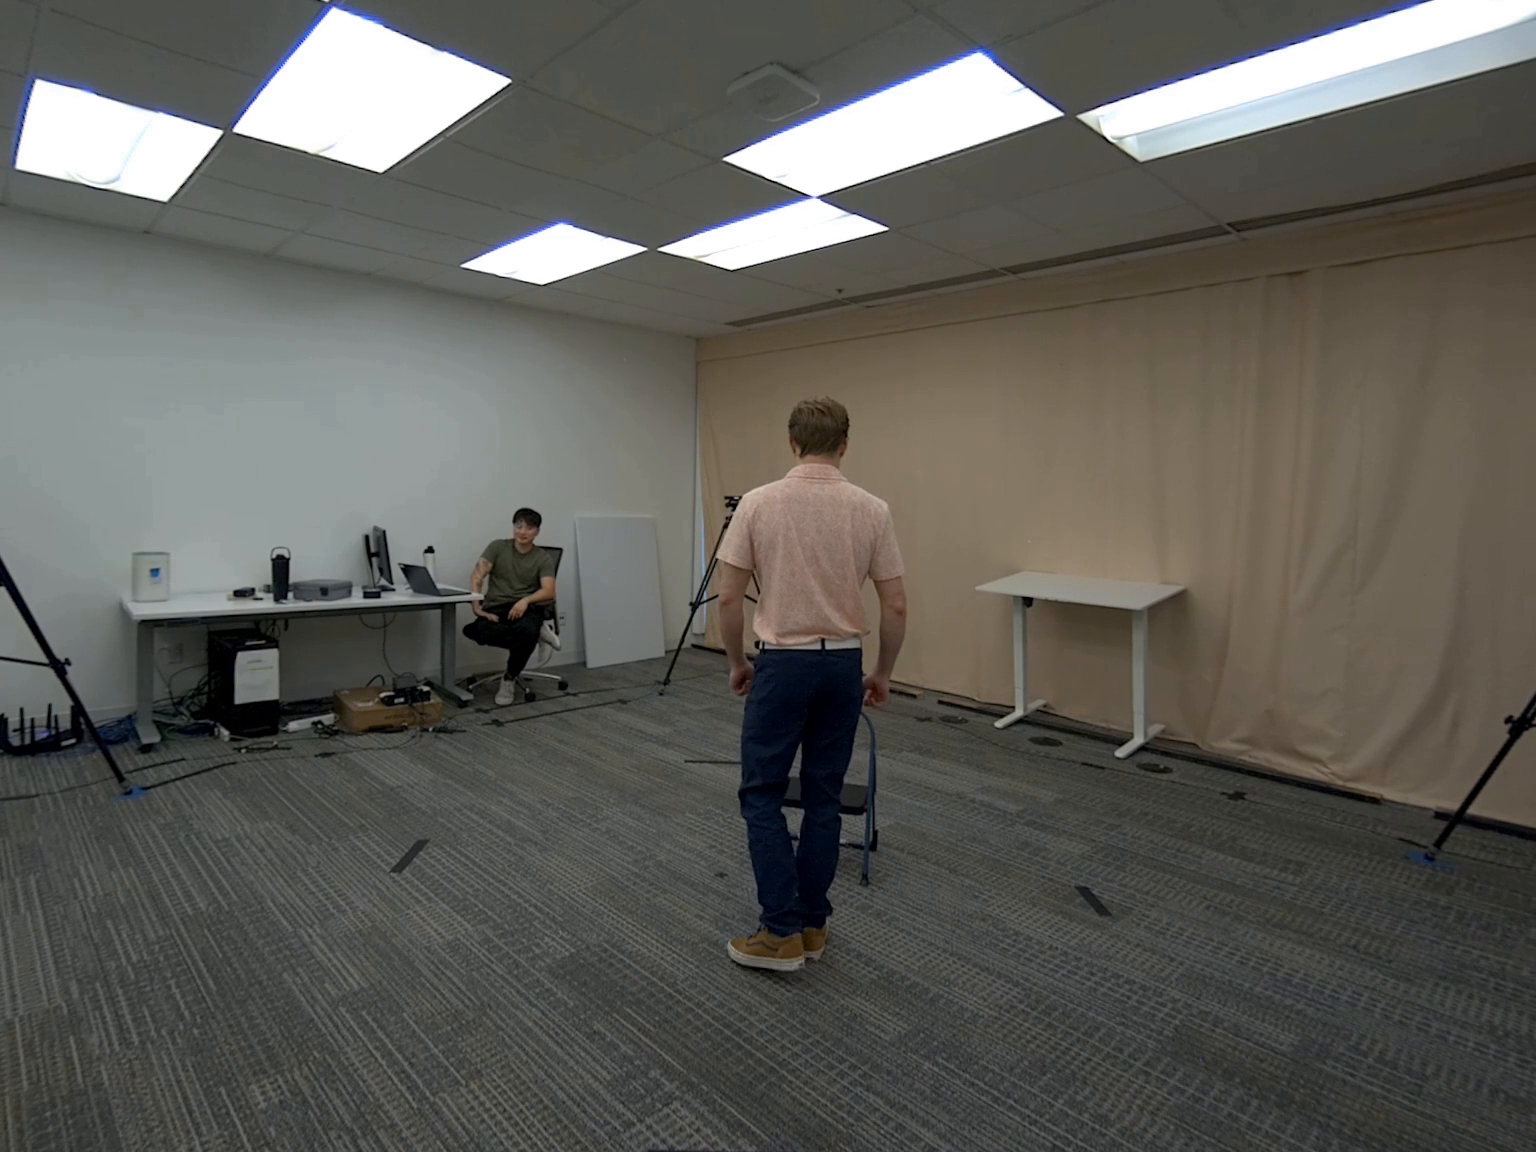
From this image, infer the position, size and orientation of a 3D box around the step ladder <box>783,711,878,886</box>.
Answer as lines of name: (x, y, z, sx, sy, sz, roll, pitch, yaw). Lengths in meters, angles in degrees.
step ladder: (0.205, 0.797, 3.253, 0.436, 0.605, 0.345, 3, 3, 15)
